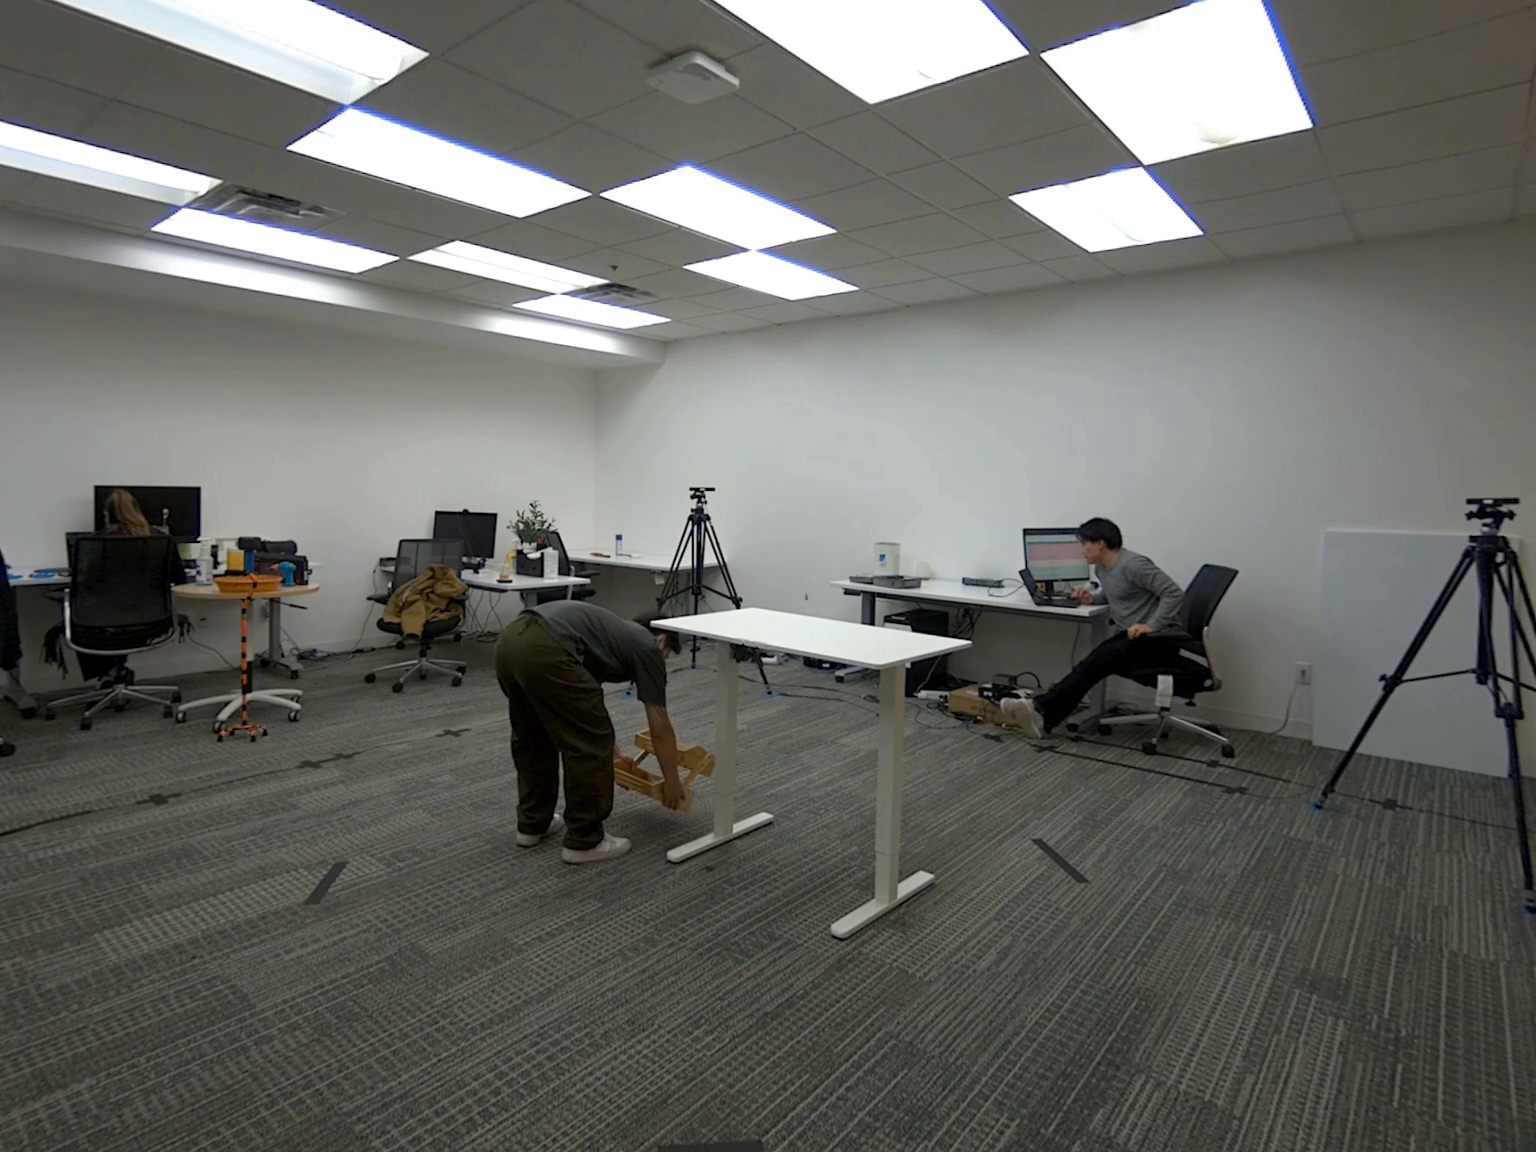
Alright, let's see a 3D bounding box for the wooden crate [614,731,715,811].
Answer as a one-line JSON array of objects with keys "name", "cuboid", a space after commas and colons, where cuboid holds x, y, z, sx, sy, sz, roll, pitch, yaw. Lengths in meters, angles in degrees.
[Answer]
[{"name": "wooden crate", "cuboid": [-0.471, 0.790, 3.566, 0.336, 0.275, 0.289, 9, -21, 40]}]
